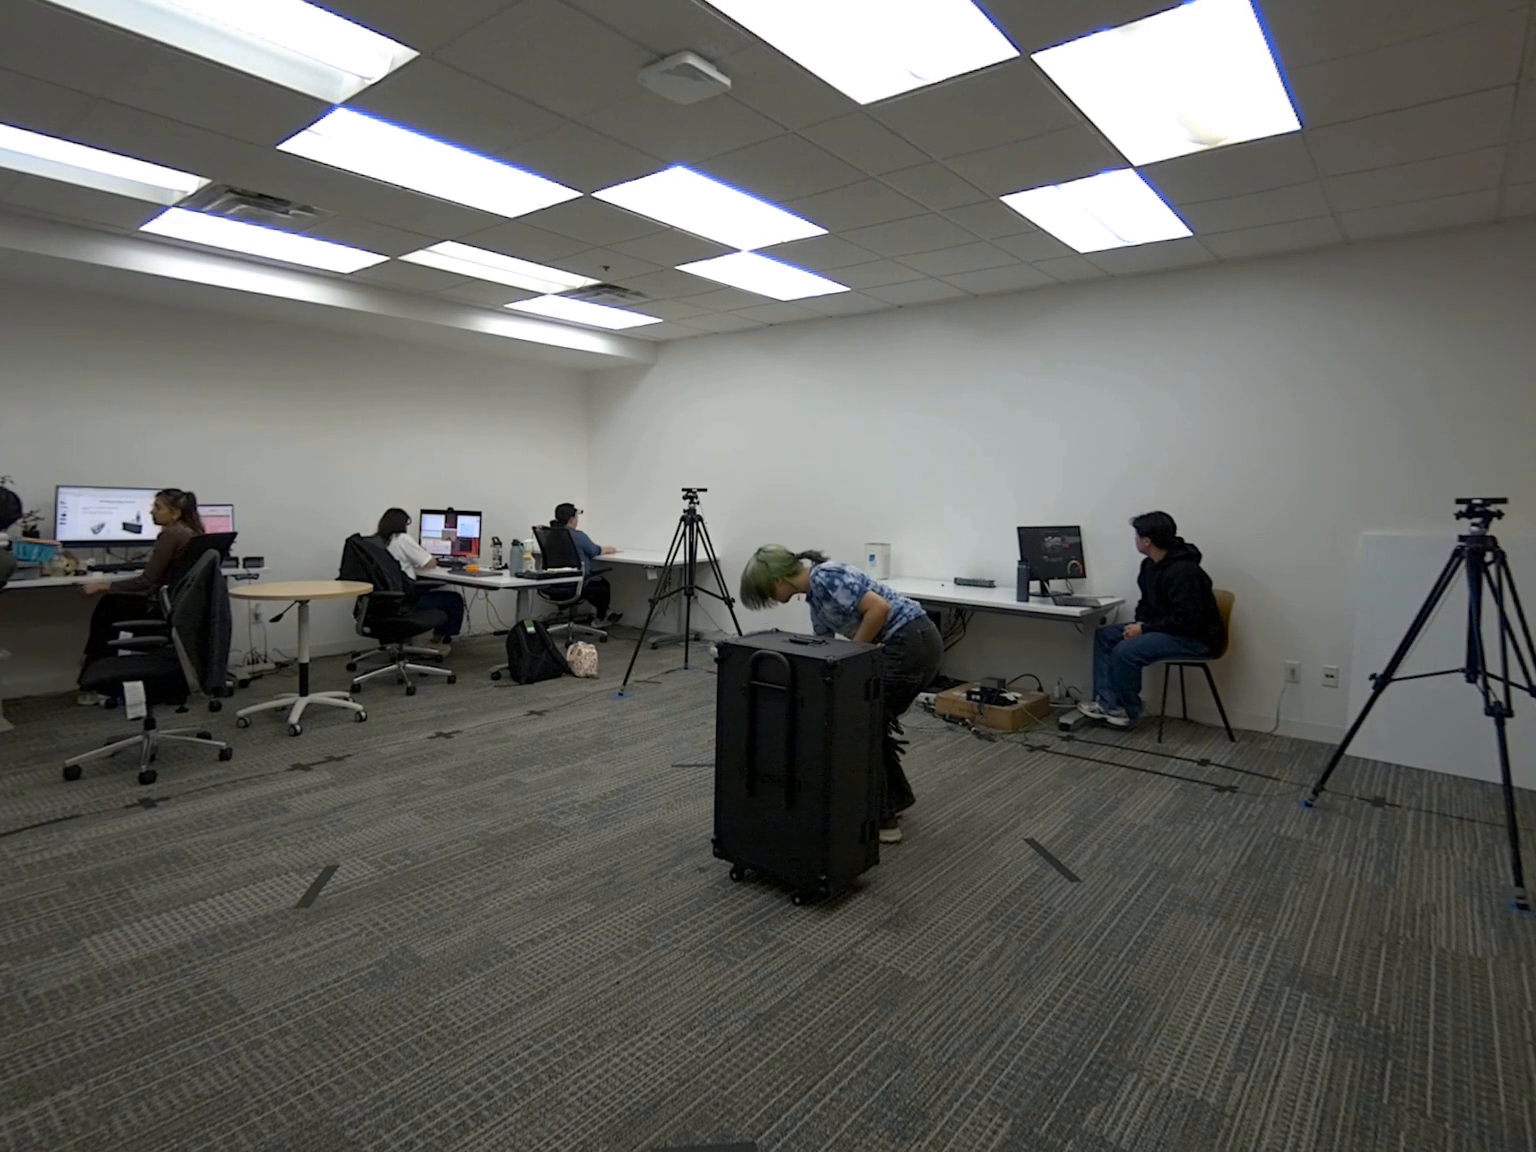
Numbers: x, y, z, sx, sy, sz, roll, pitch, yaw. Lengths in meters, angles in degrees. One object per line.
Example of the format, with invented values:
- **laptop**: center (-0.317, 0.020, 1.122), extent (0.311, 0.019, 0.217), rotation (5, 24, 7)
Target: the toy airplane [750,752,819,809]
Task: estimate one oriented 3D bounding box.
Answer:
- **toy airplane**: center (0.066, 0.919, 3.809), extent (0.248, 0.156, 0.263), rotation (0, 6, -11)
